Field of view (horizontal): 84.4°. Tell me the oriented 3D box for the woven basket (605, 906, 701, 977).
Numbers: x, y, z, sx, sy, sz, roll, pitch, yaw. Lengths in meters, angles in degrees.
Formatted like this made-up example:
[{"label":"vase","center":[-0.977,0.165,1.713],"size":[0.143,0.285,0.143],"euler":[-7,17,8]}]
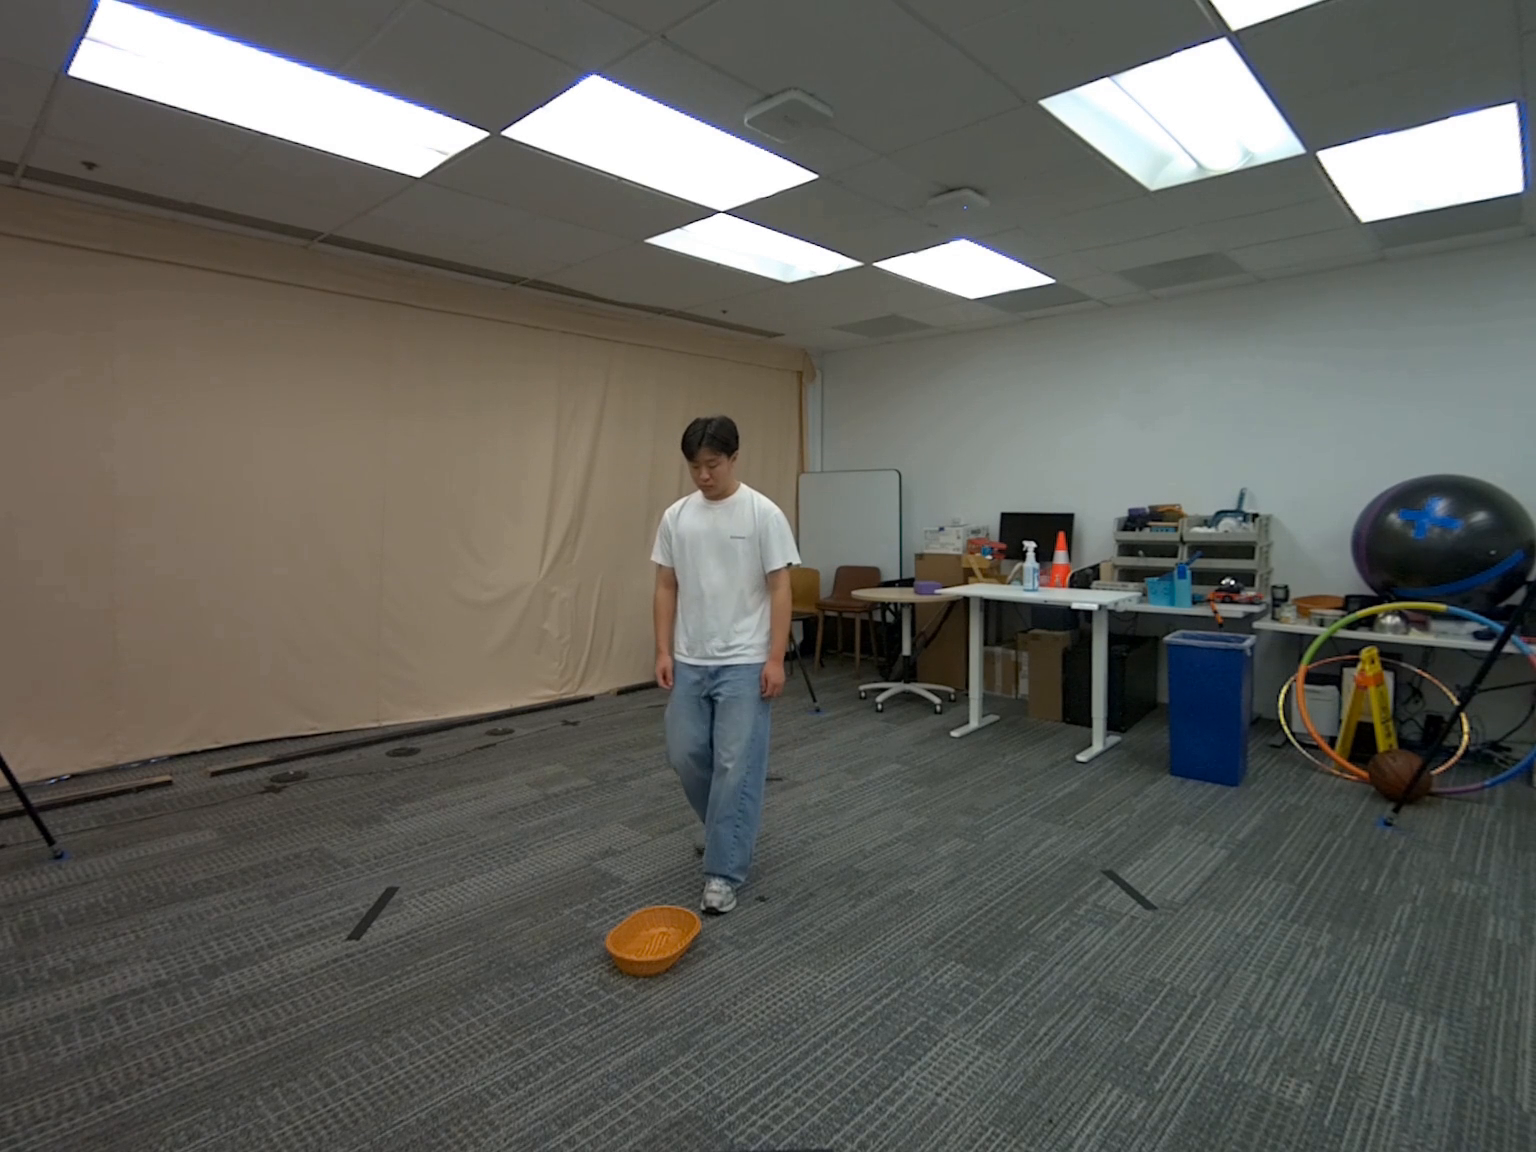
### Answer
[{"label":"woven basket","center":[-0.349,1.136,2.625],"size":[0.259,0.073,0.342],"euler":[2,4,27]}]
